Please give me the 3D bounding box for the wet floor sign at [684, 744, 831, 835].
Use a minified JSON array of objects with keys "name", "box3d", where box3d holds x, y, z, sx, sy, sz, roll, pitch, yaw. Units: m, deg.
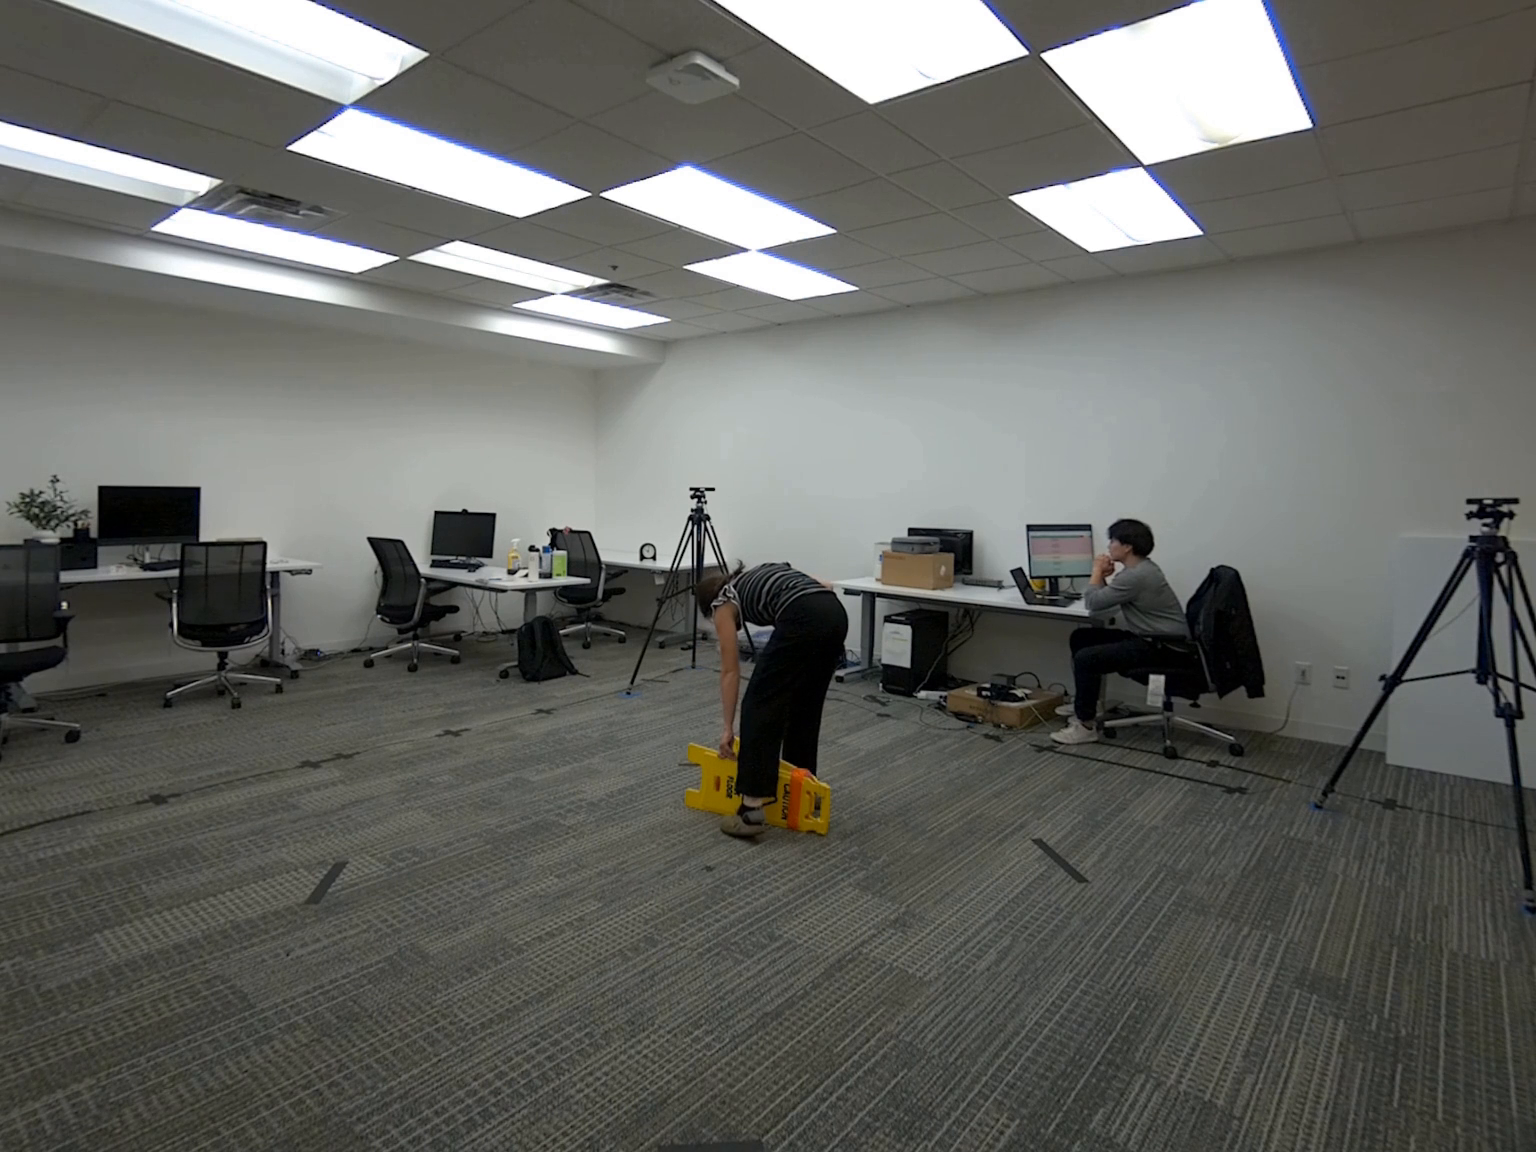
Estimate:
[{"name":"wet floor sign","box3d":[-0.028,0.896,3.621,0.668,0.281,0.281,9,7,37]}]
